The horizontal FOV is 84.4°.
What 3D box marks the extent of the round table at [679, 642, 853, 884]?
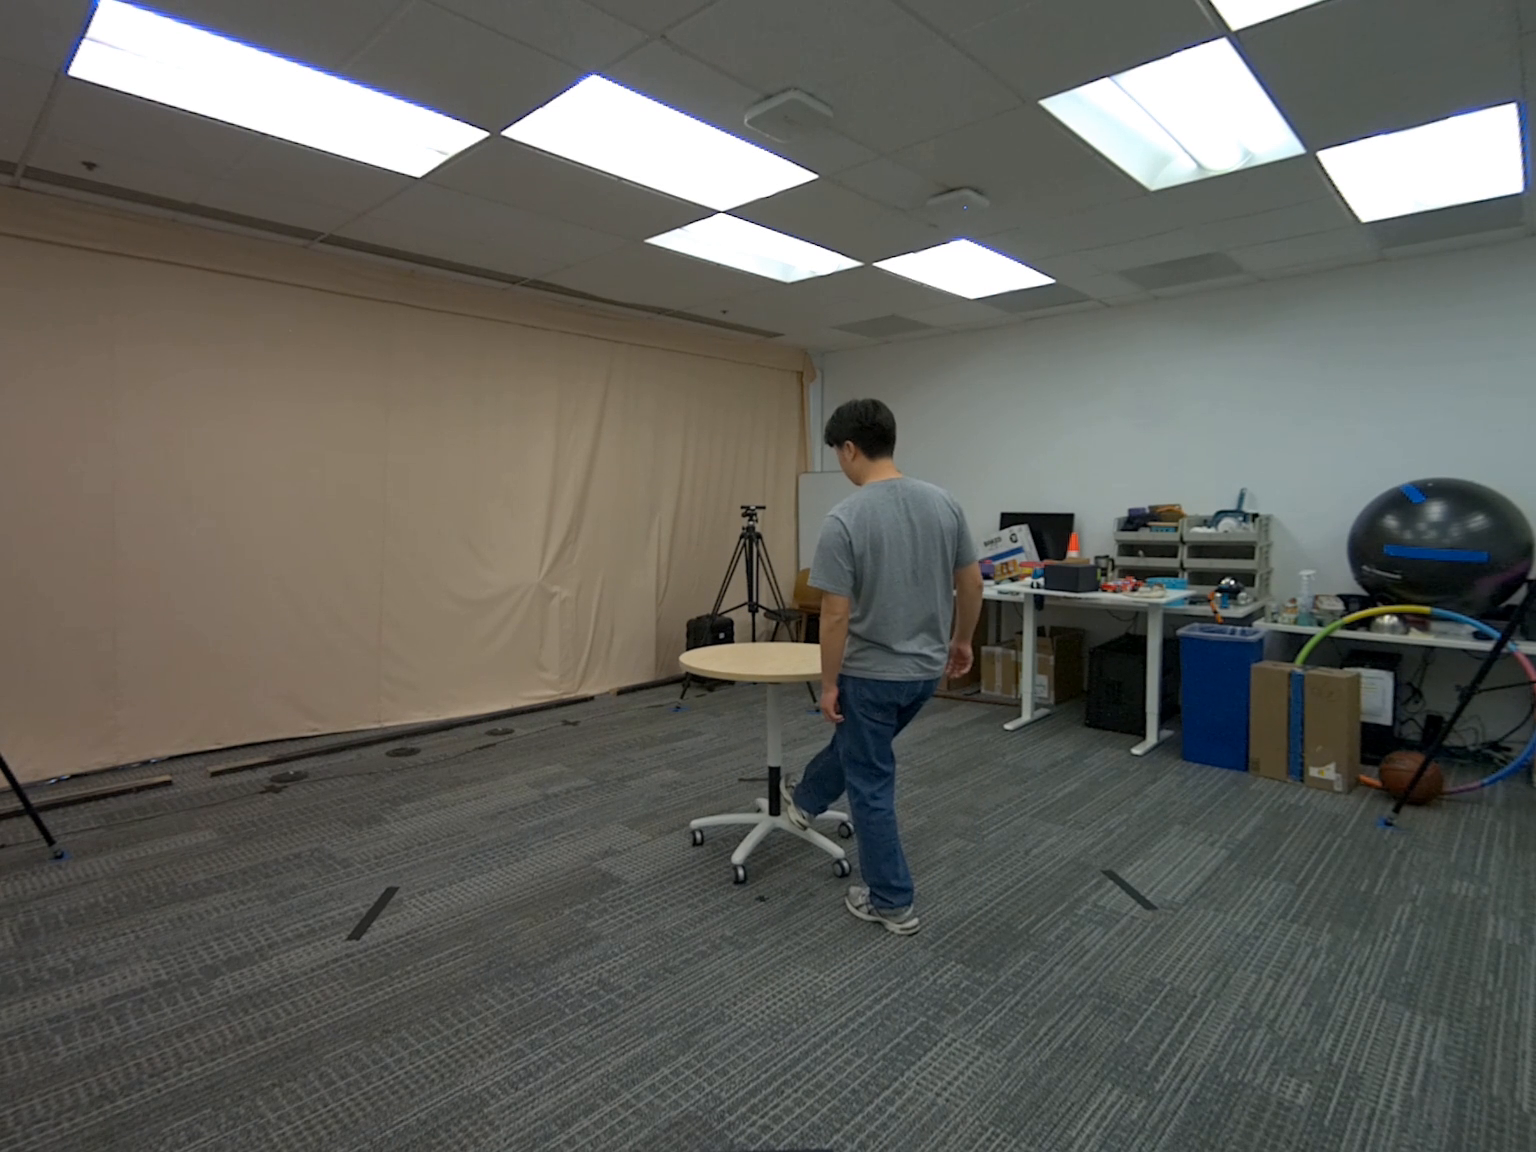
[{"bbox_3d":[0.029,0.719,3.405,0.763,0.792,0.766,-1,3,-2],"label":"round table"}]
